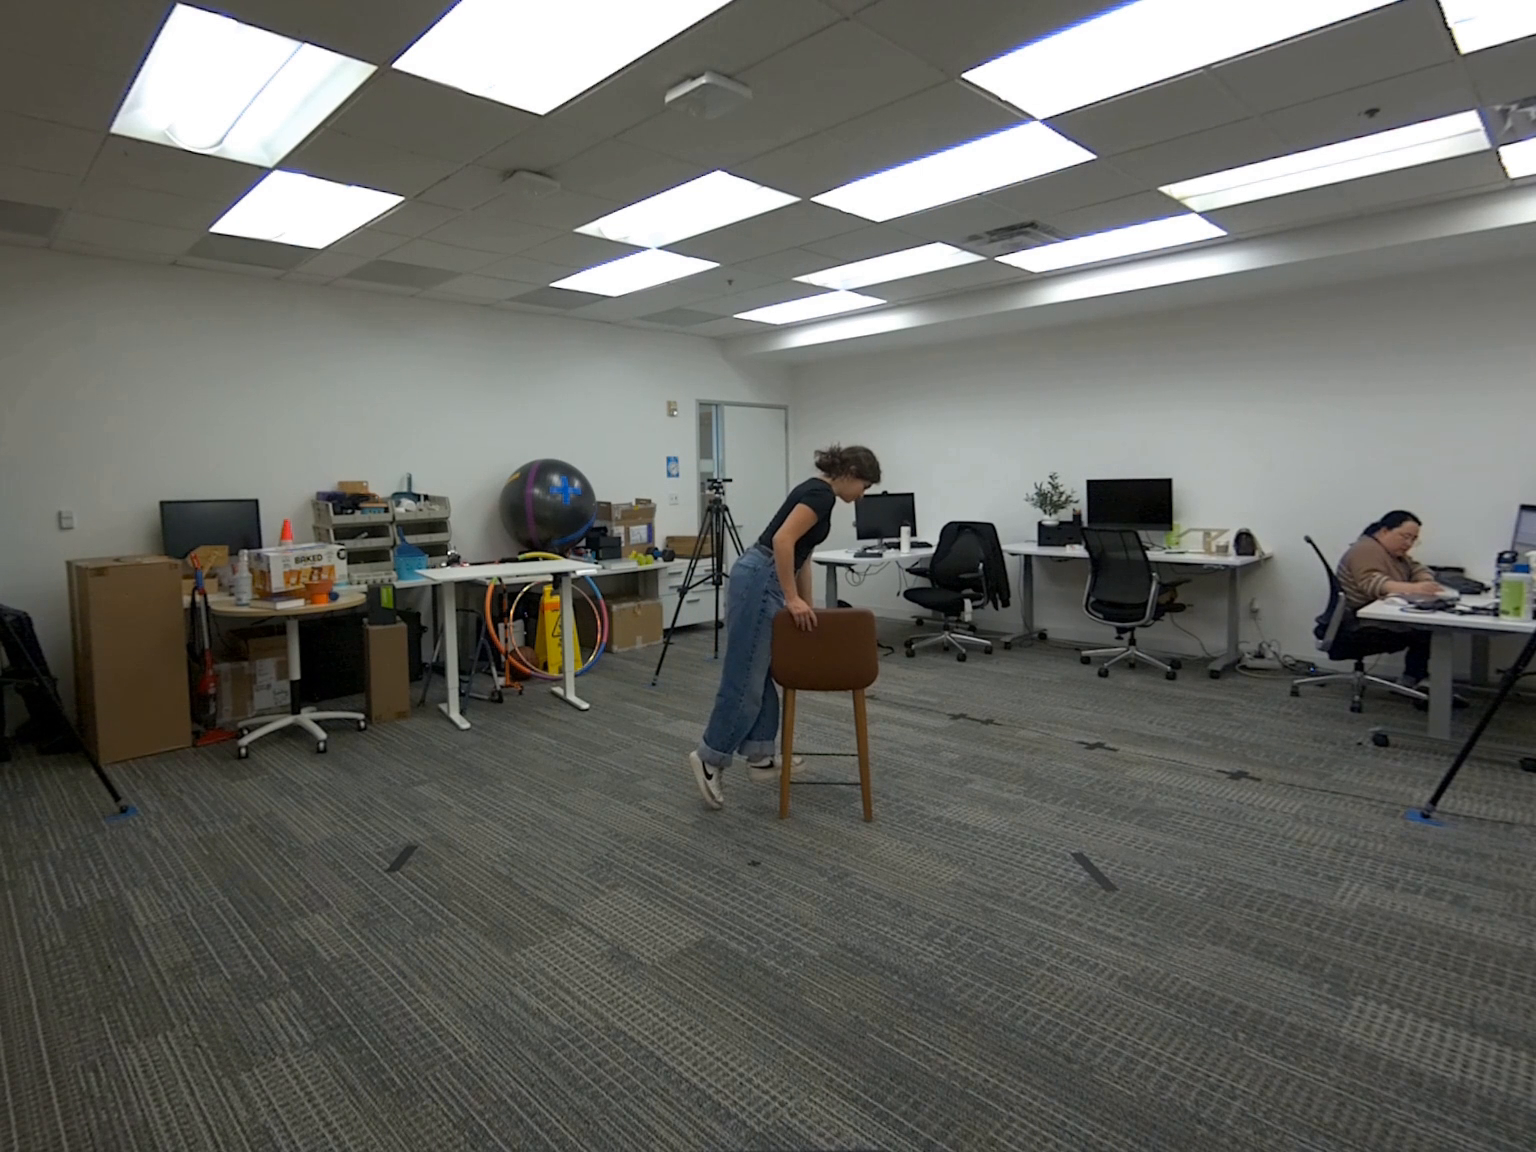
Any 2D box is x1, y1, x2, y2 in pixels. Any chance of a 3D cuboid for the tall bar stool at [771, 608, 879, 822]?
[{"bbox_3d":[0.245,0.541,3.679,0.460,0.885,0.467,0,6,6],"label":"tall bar stool"}]
